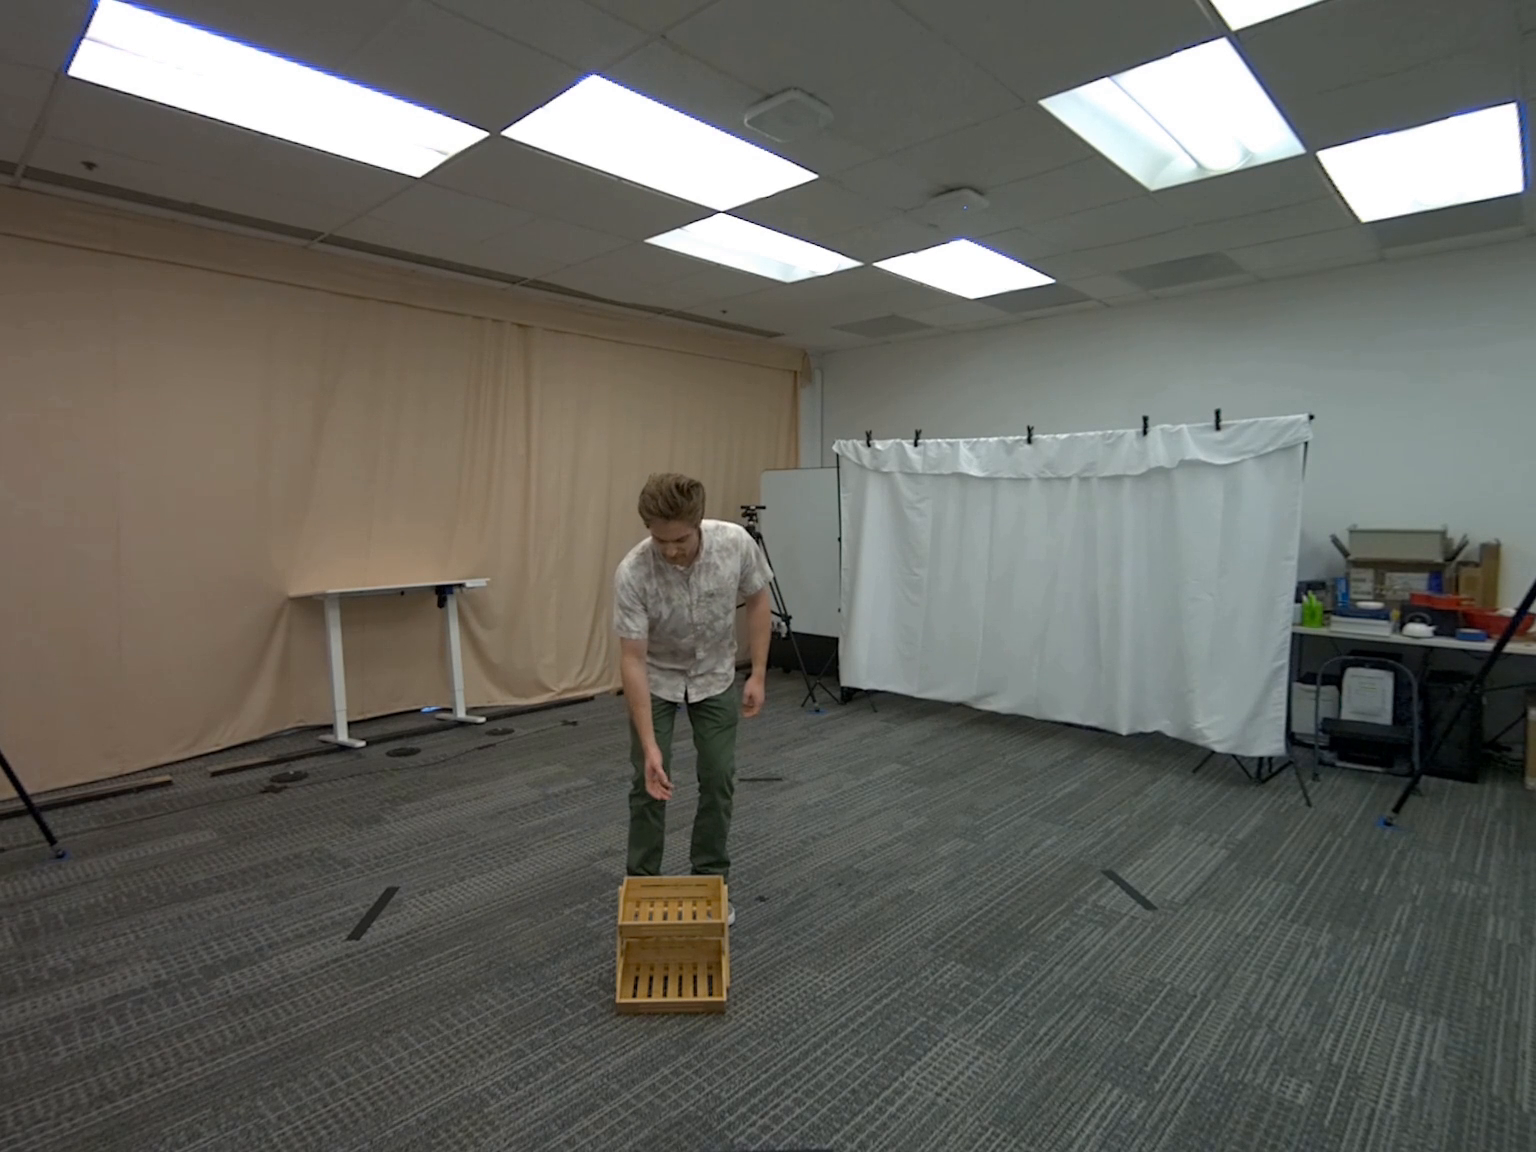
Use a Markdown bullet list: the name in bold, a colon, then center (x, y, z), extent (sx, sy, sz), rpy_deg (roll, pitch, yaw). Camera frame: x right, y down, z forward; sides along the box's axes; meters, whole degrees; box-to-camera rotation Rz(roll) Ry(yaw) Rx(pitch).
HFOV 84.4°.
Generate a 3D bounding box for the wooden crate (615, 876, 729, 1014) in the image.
- **wooden crate**: center (-0.276, 1.056, 2.435), extent (0.324, 0.273, 0.303), rpy_deg (0, 3, -3)
